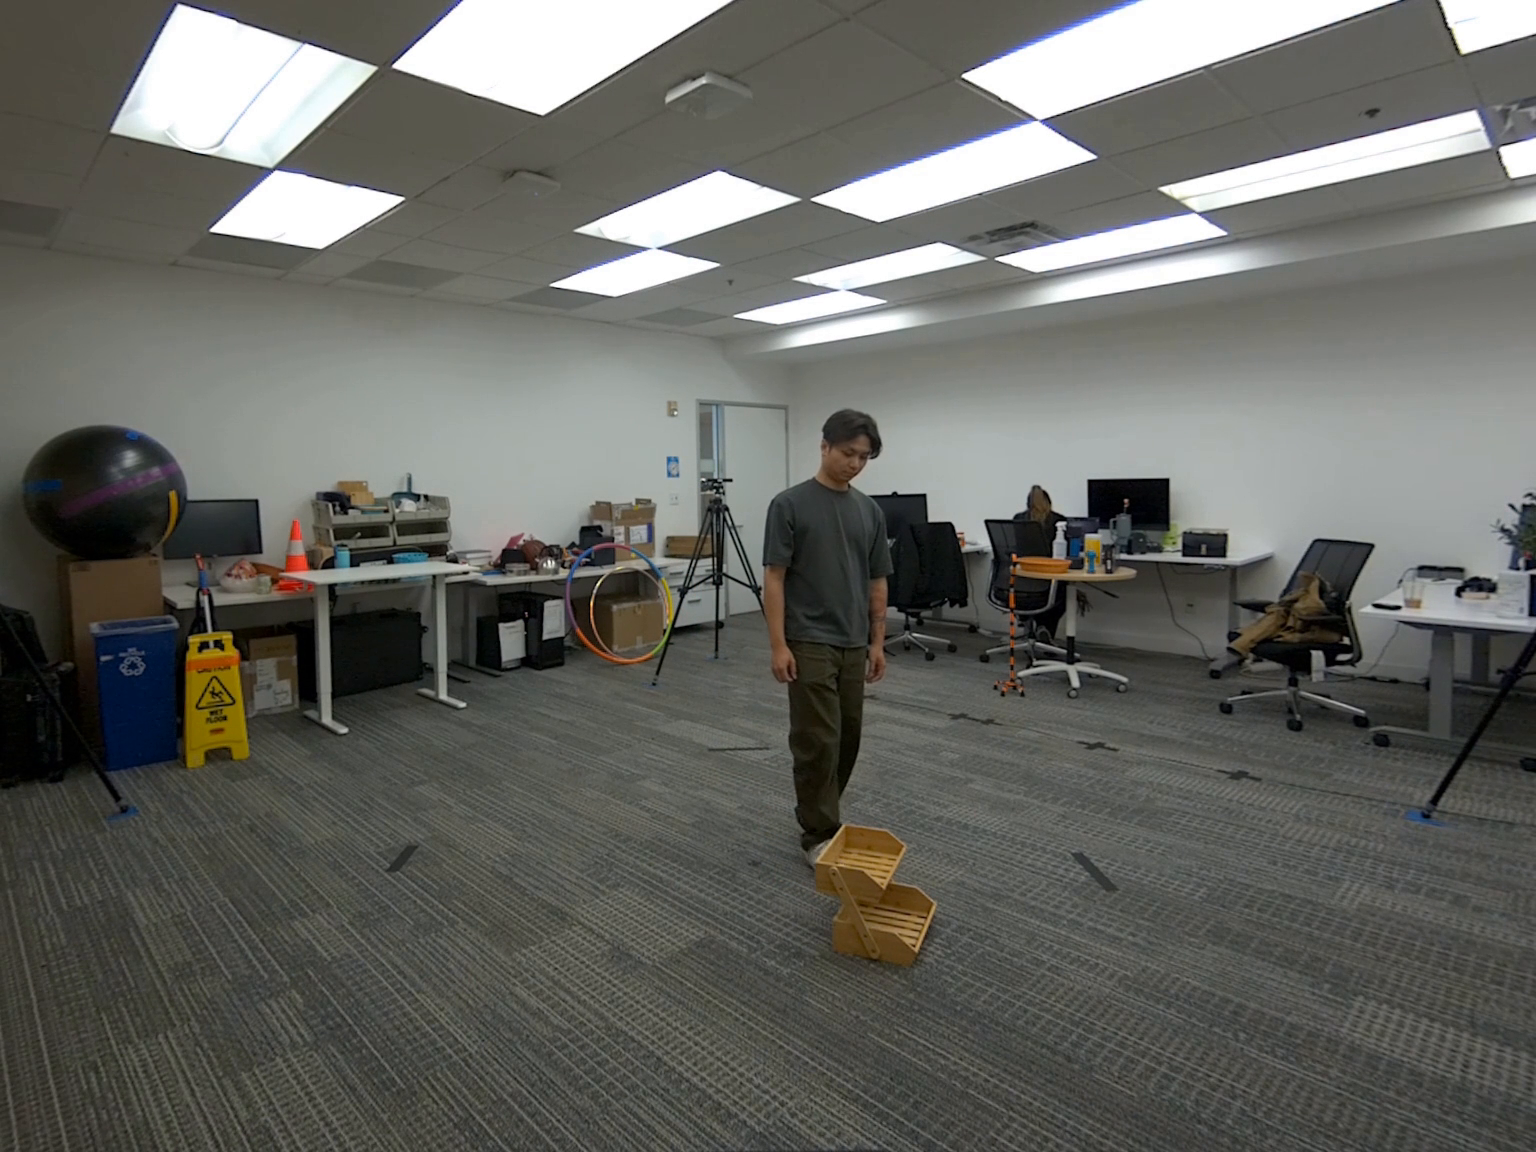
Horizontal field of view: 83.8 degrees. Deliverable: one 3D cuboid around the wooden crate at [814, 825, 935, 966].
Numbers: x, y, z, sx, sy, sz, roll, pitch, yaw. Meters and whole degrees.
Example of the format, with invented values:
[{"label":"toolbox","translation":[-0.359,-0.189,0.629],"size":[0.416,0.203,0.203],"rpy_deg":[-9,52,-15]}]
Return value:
[{"label":"wooden crate","translation":[0.350,0.969,2.615],"size":[0.308,0.272,0.319],"rpy_deg":[0,5,22]}]
